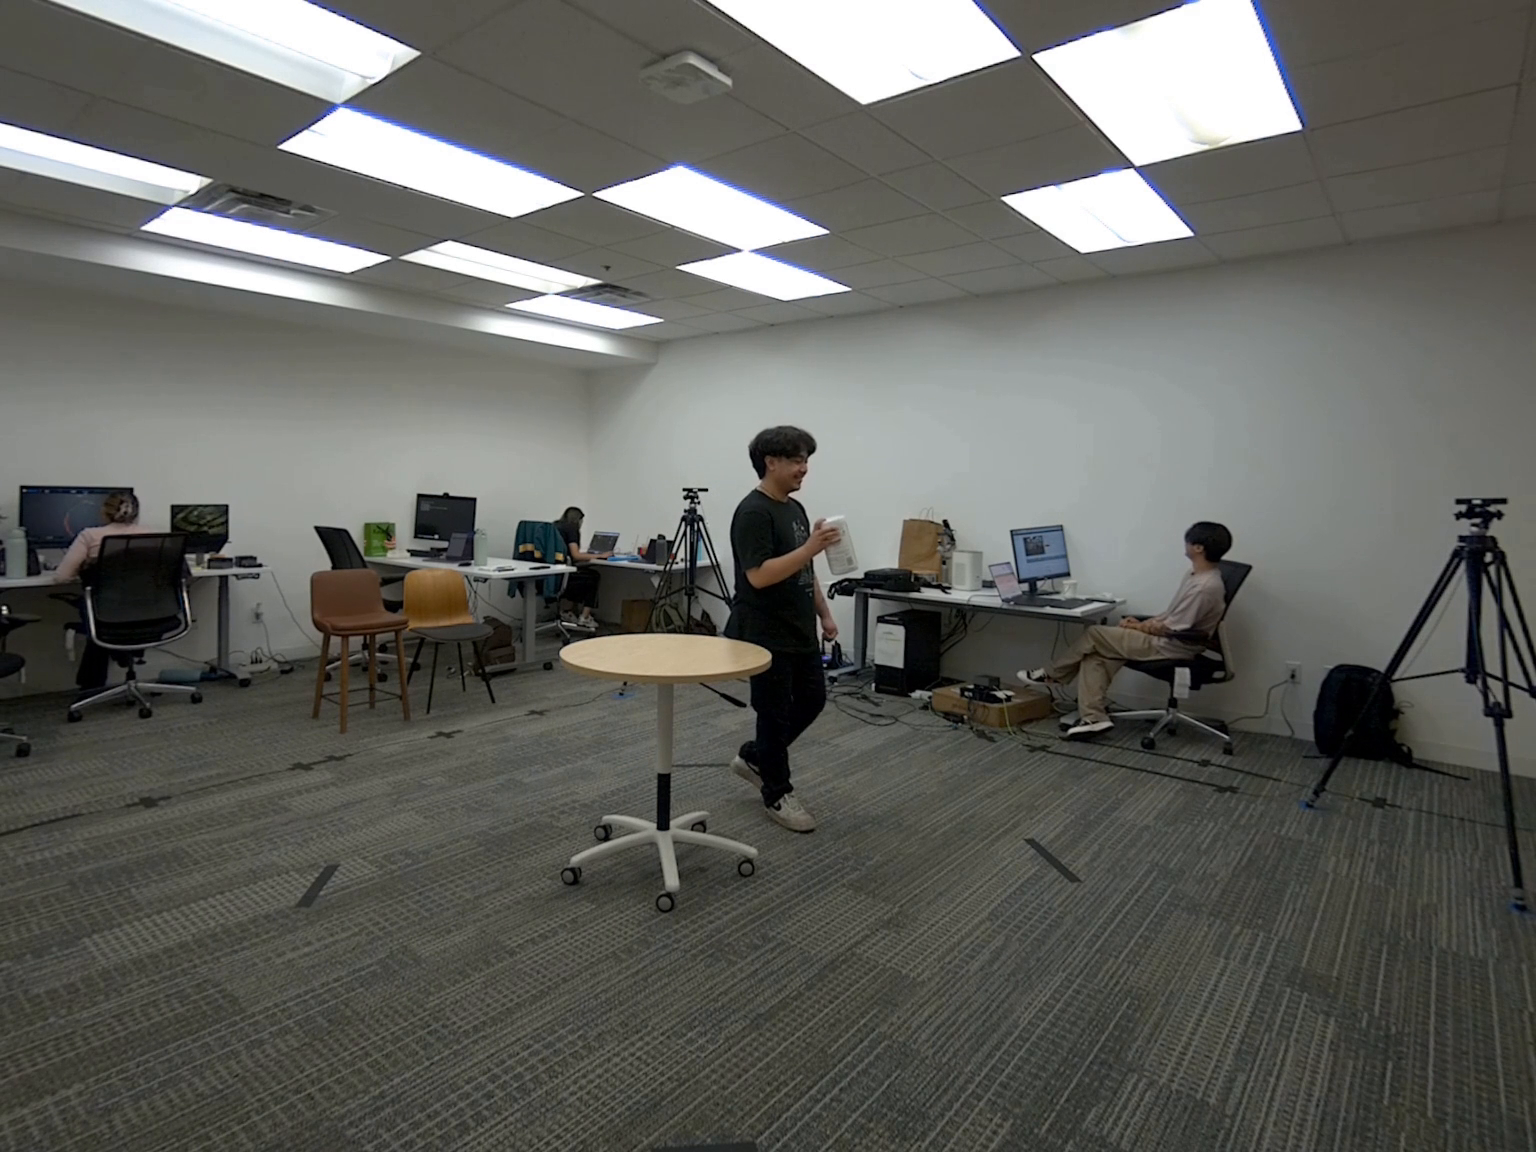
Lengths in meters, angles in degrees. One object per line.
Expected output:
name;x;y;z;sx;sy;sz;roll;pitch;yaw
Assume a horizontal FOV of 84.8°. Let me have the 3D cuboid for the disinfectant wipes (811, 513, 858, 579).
disinfectant wipes;0.255;-0.119;3.273;0.118;0.216;0.119;-14;7;0
